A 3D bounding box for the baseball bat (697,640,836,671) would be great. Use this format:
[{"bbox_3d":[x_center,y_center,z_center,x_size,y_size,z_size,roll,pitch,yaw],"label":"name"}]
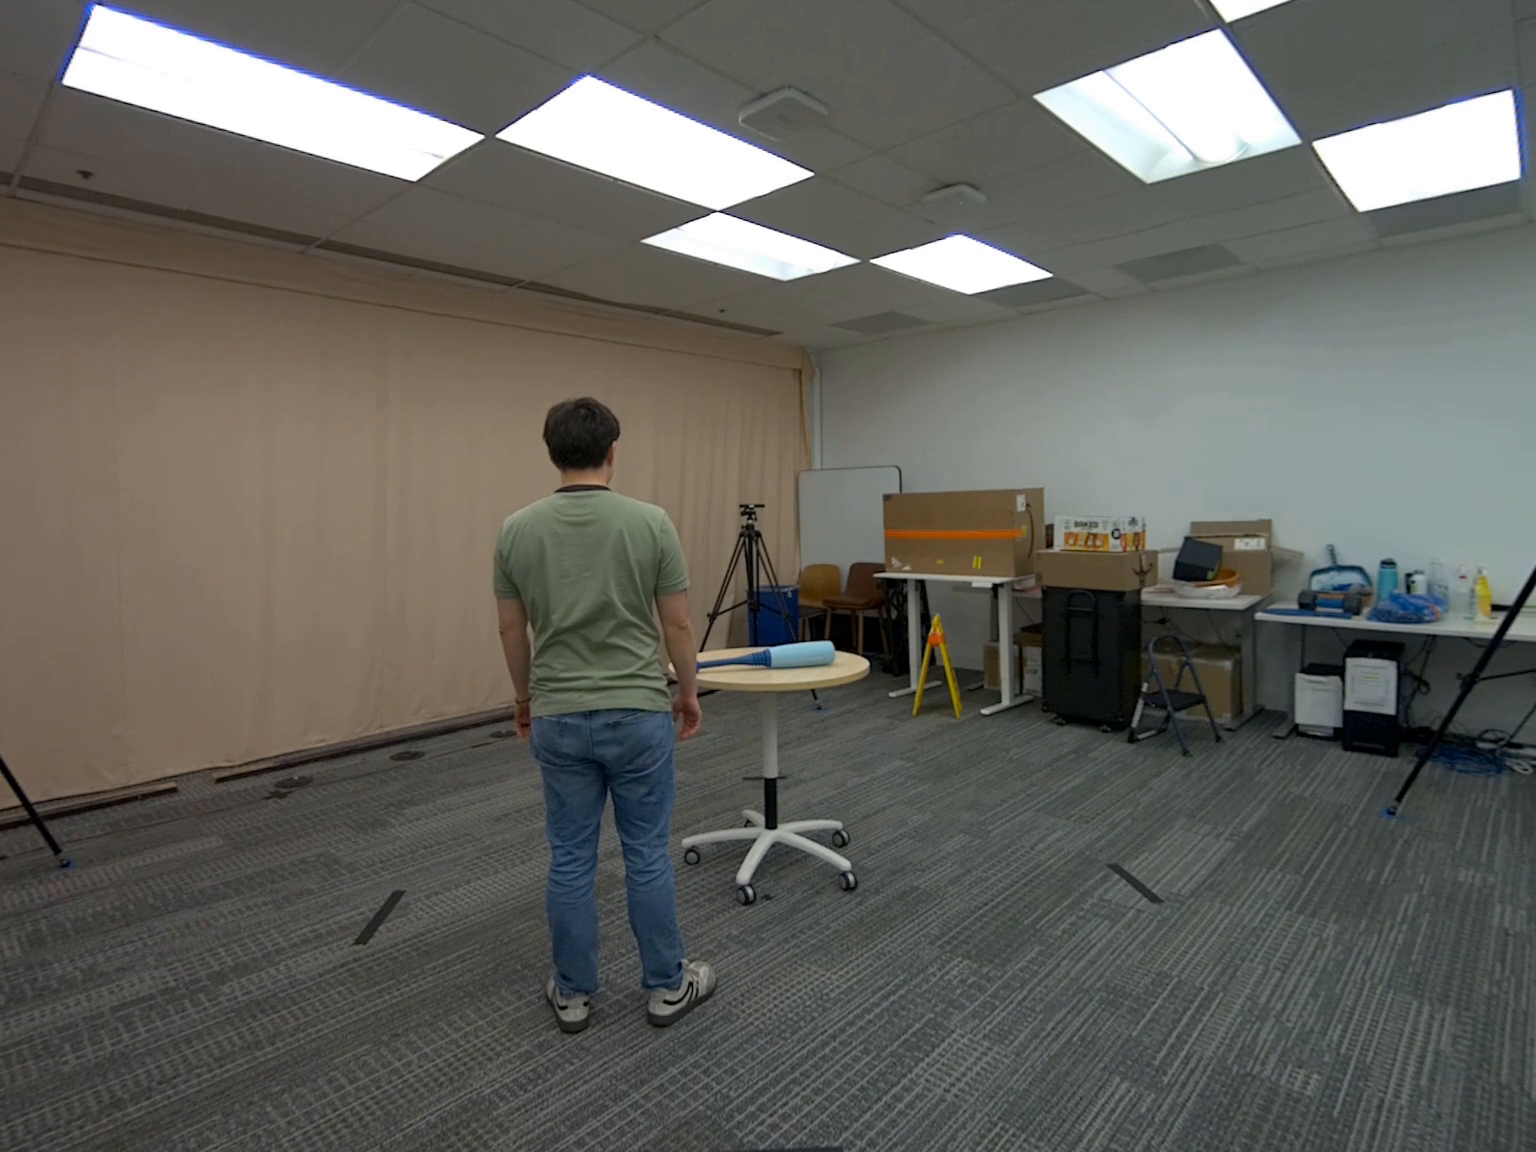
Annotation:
[{"bbox_3d":[-0.013,0.306,3.111,0.537,0.089,0.090,-4,4,-10],"label":"baseball bat"}]
